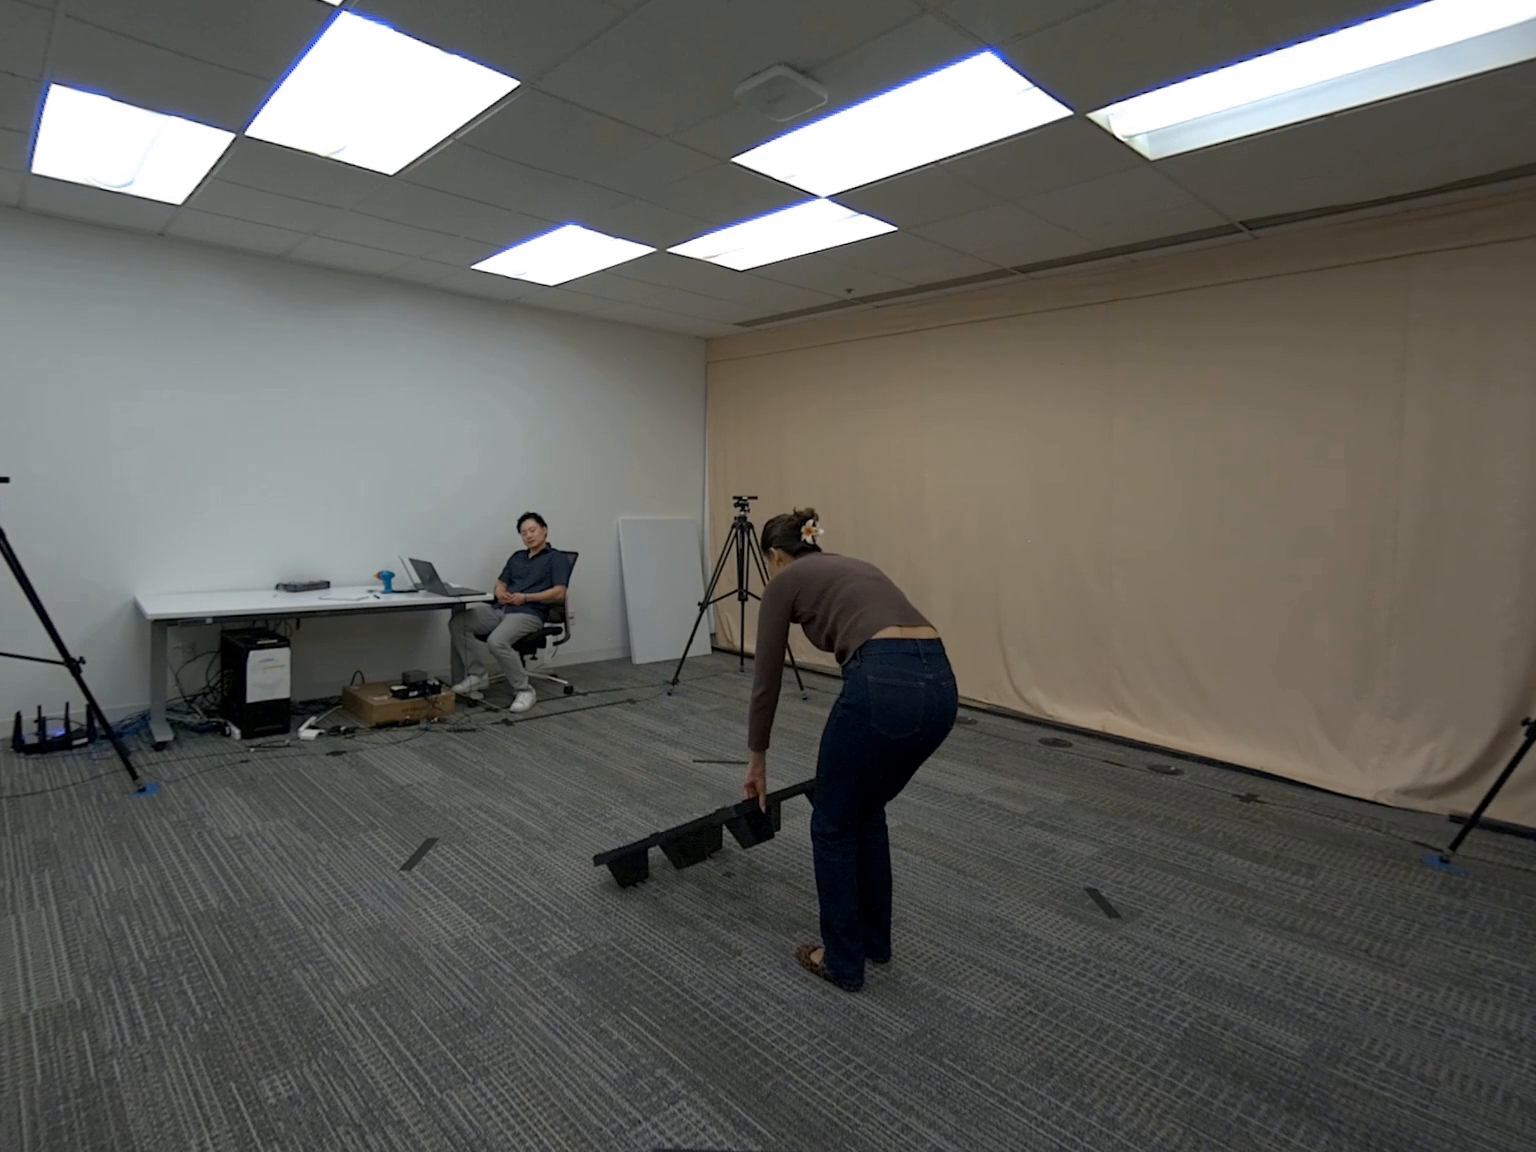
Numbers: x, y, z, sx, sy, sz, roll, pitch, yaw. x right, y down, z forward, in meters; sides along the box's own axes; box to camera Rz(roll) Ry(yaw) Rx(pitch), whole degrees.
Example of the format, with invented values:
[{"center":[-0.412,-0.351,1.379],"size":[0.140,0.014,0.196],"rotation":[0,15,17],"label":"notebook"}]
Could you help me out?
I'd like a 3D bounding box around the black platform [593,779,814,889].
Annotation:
[{"center":[-0.157,0.885,2.924],"size":[0.592,0.145,0.811],"rotation":[-5,-20,-47],"label":"black platform"}]
